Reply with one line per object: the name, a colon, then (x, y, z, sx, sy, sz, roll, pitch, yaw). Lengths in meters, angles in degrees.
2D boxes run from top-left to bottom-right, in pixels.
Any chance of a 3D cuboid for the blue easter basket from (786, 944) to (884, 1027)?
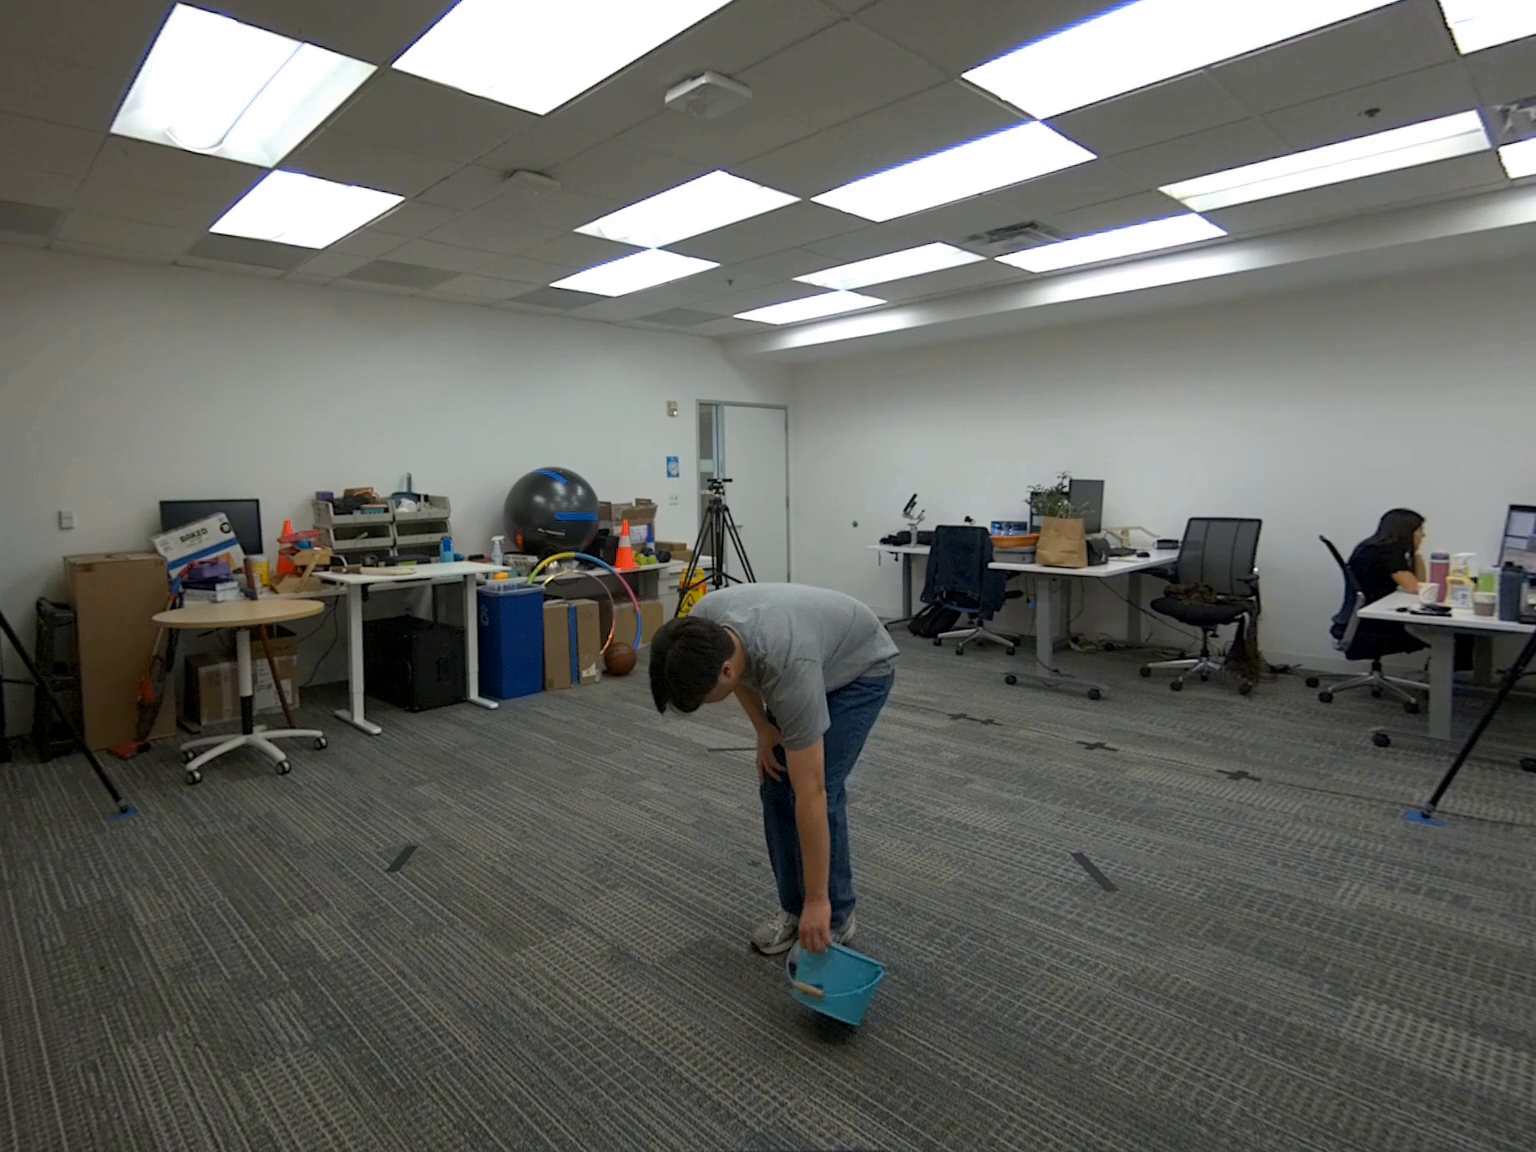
blue easter basket: (0.174, 1.042, 2.194, 0.245, 0.157, 0.240, 20, -18, 5)
